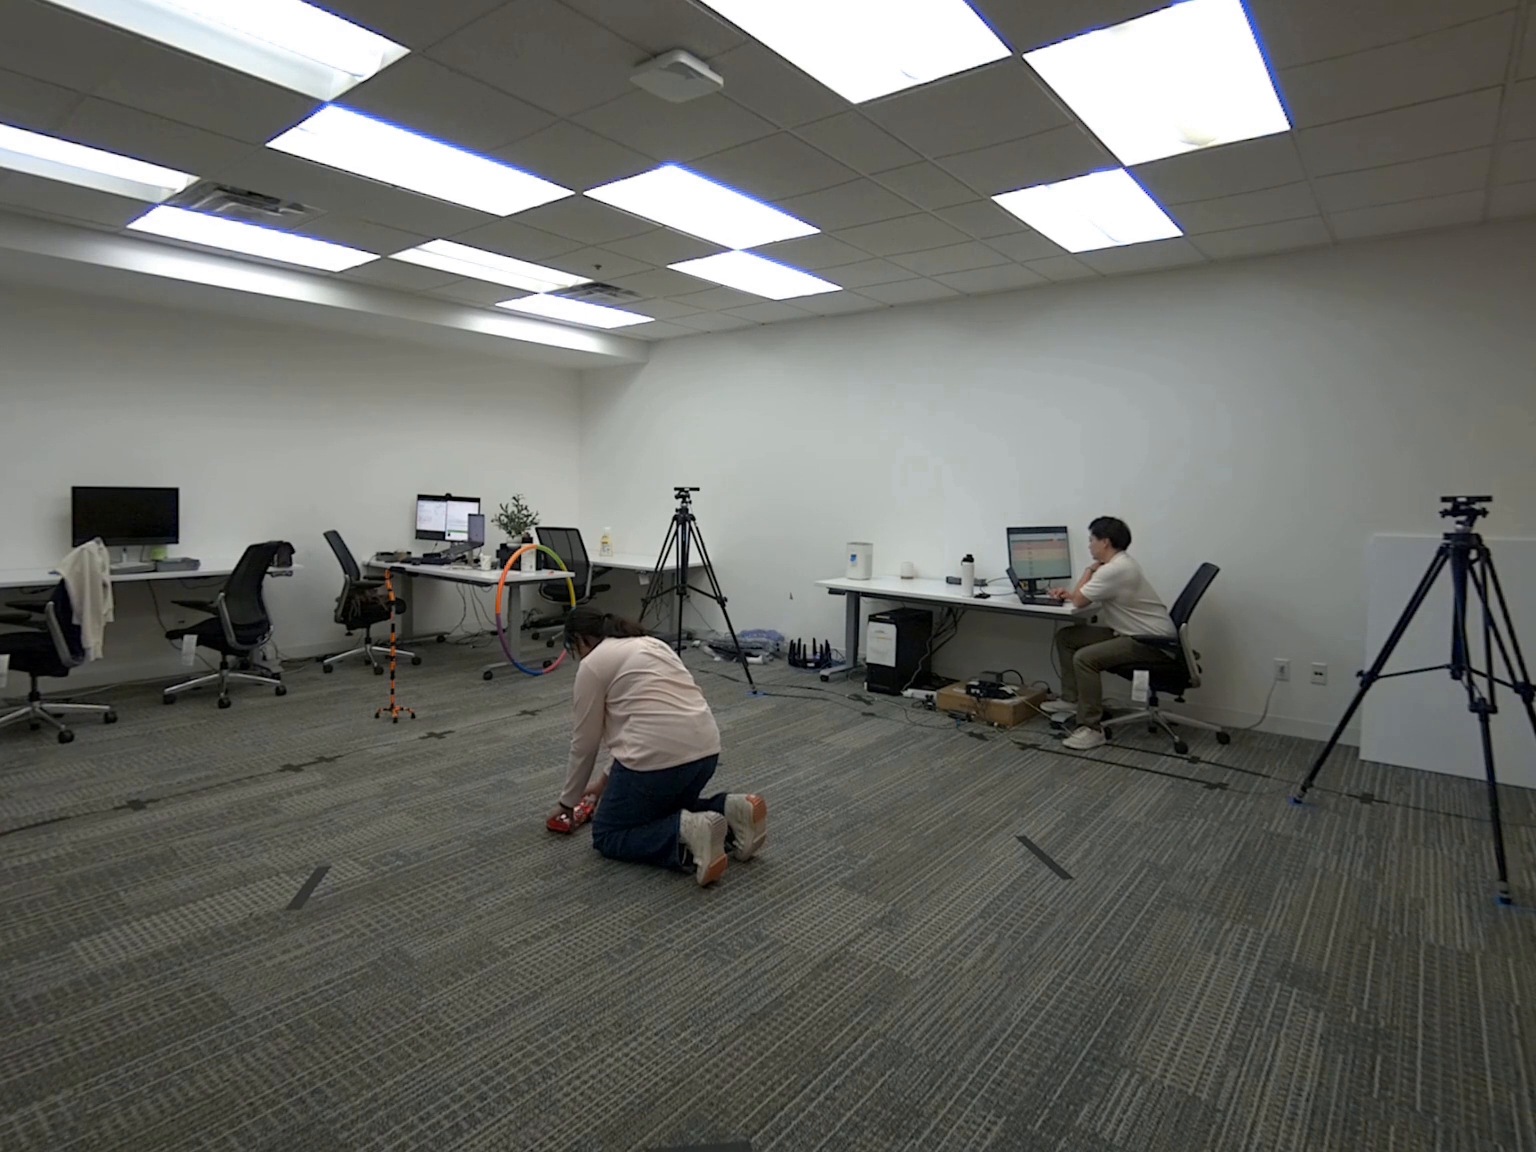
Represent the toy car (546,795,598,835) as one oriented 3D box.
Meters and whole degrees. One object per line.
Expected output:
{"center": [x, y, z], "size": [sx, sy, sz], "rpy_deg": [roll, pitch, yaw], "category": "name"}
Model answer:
{"center": [-0.812, 0.986, 3.508], "size": [0.133, 0.082, 0.254], "rpy_deg": [1, 19, 18], "category": "toy car"}
